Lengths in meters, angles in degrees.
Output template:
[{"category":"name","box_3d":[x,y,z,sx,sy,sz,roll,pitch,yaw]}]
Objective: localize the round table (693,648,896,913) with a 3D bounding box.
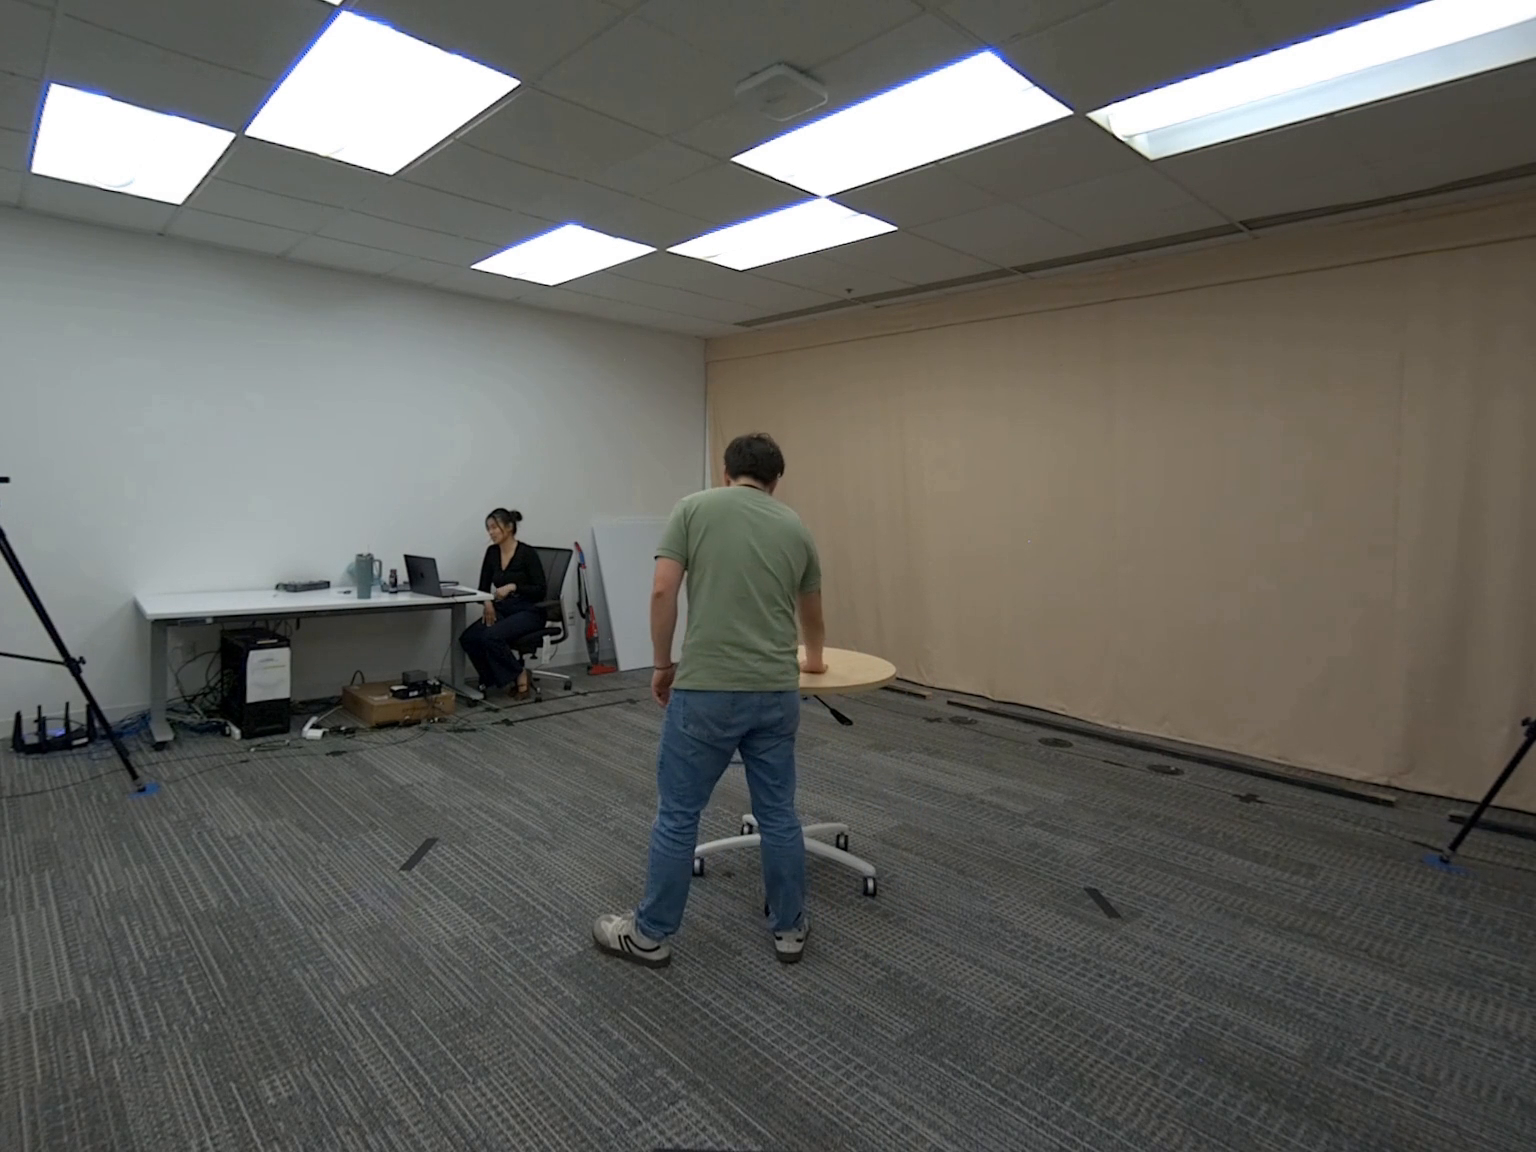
[{"category":"round table","box_3d":[0.071,0.718,3.135,0.763,0.792,0.767,1,4,-1]}]
